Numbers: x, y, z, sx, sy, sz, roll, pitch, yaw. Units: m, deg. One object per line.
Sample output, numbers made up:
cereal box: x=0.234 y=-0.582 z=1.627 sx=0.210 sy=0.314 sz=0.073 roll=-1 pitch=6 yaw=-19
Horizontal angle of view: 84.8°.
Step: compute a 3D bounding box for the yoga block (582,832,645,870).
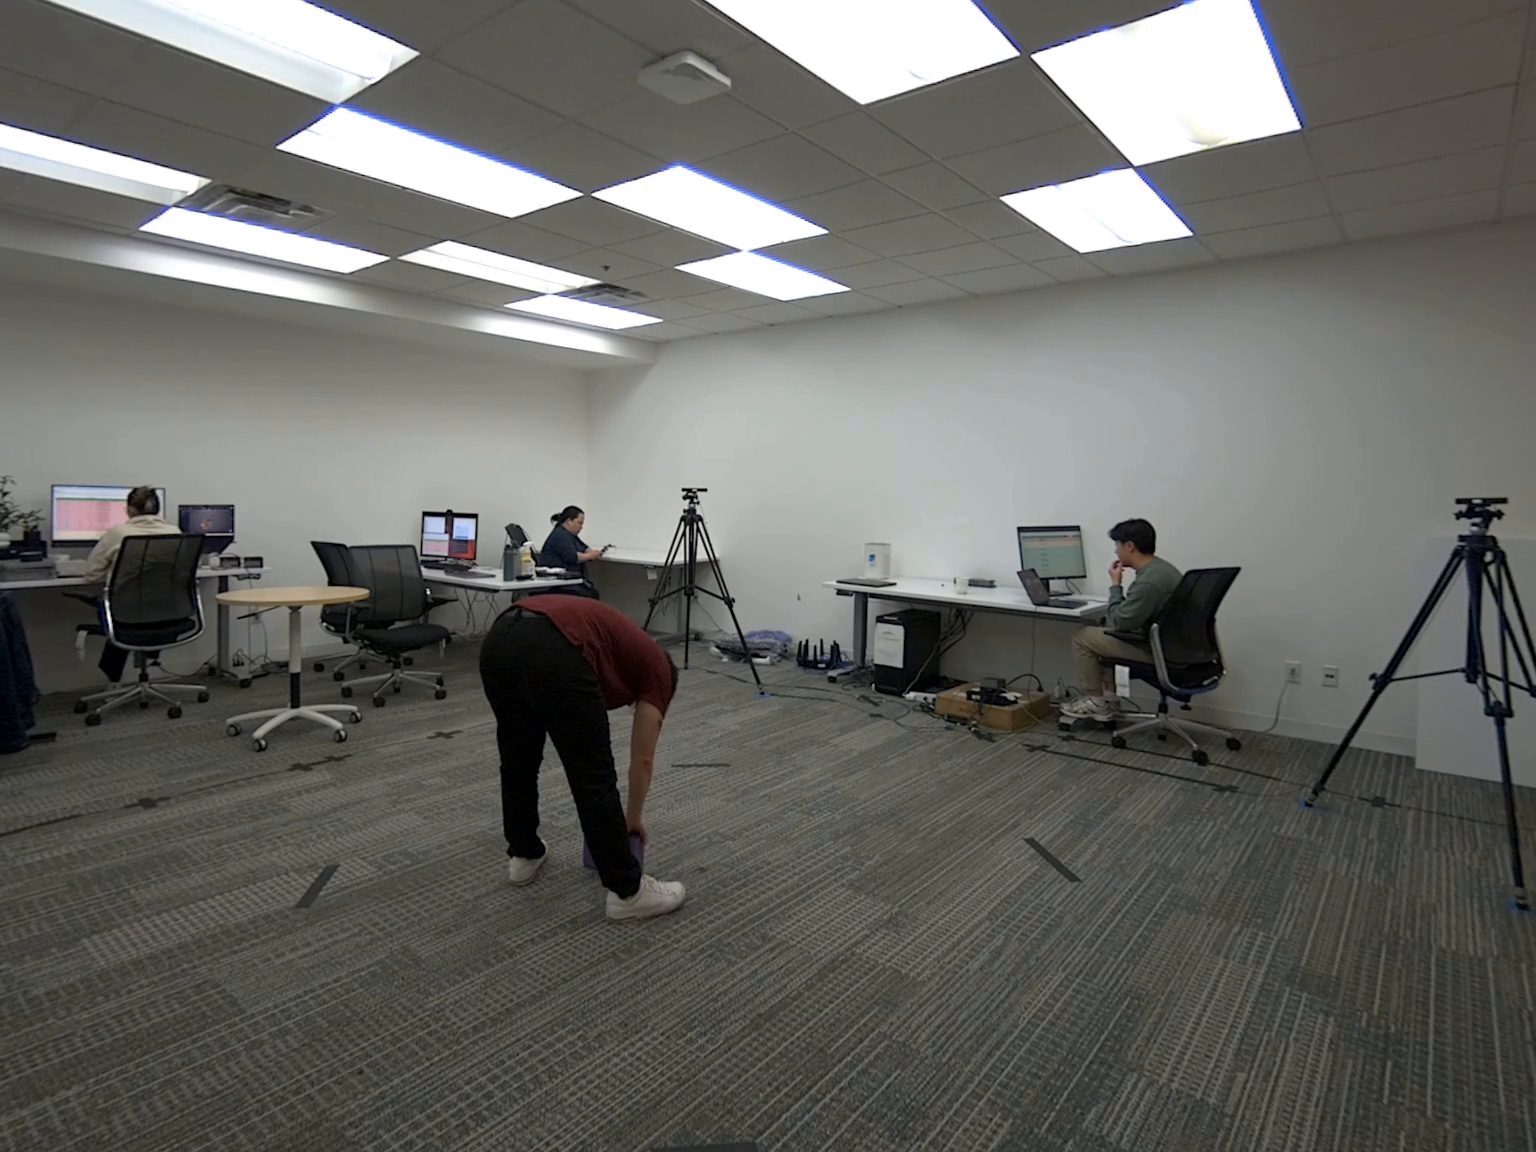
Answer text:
yoga block: x=-0.575 y=0.991 z=3.082 sx=0.236 sy=0.148 sz=0.074 roll=2 pitch=5 yaw=29
